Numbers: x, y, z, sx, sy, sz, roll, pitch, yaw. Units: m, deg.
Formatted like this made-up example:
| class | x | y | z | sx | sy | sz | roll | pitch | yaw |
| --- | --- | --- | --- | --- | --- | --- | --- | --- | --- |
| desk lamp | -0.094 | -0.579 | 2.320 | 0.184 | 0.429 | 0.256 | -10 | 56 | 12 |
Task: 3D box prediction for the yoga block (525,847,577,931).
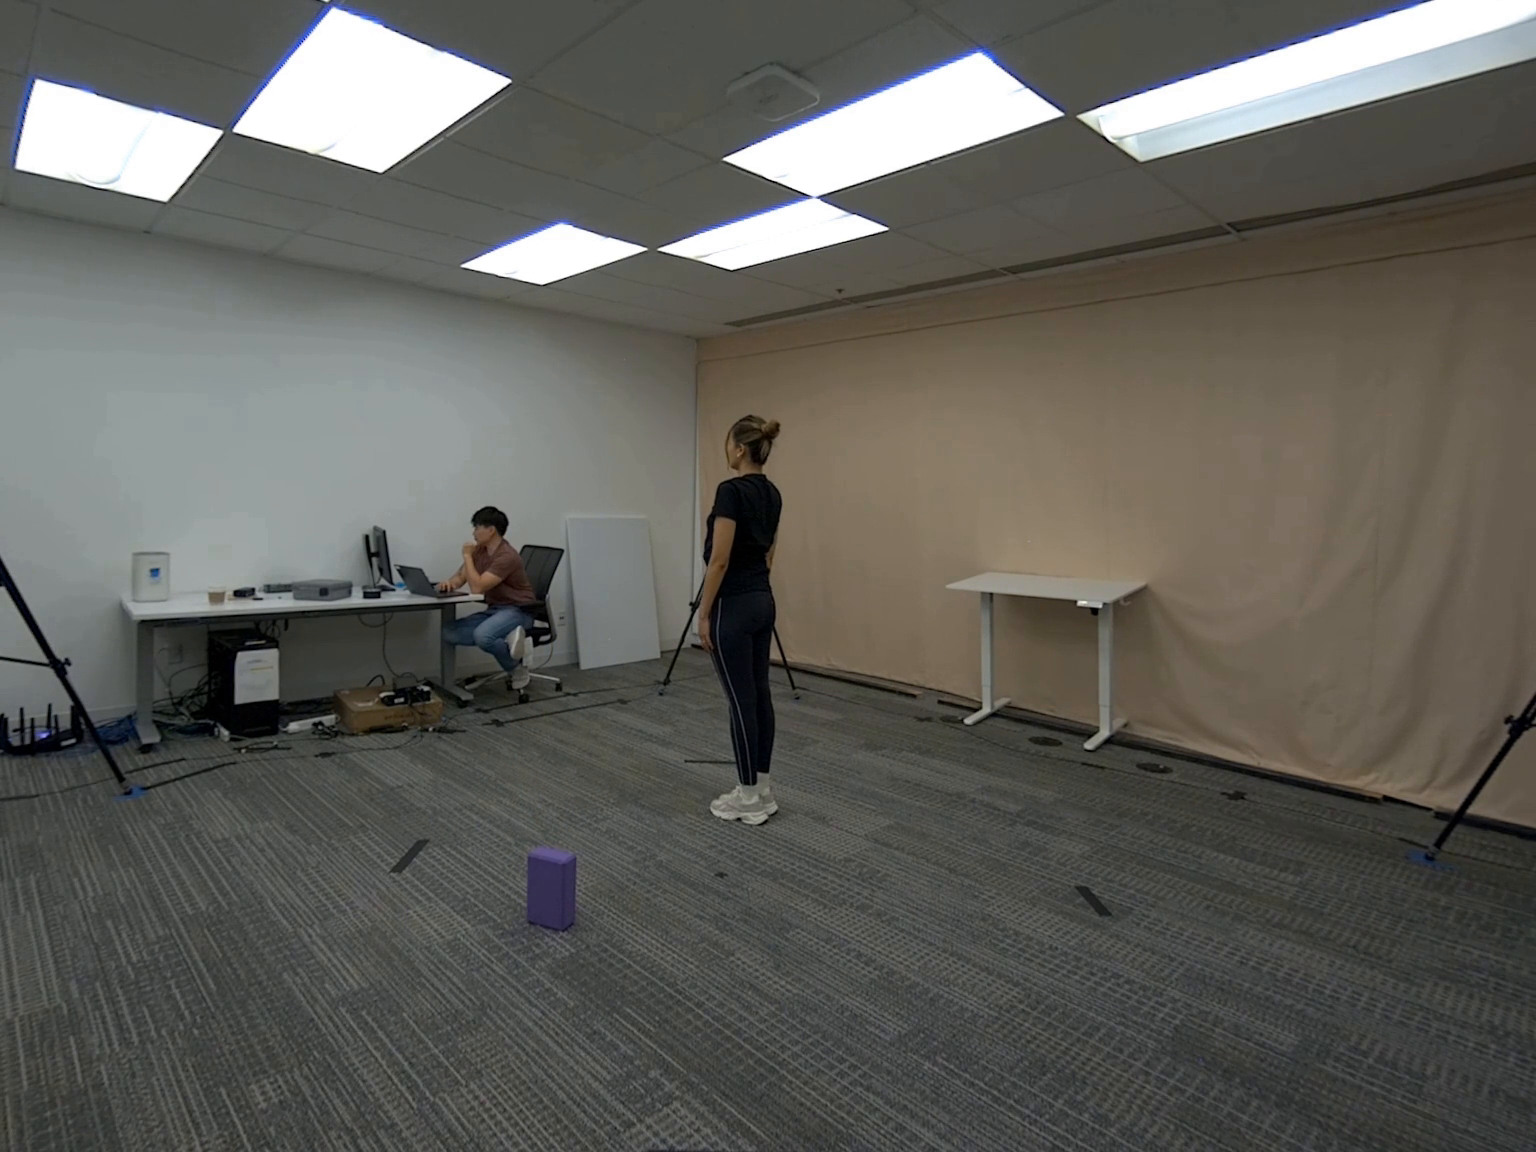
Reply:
| class | x | y | z | sx | sy | sz | roll | pitch | yaw |
| --- | --- | --- | --- | --- | --- | --- | --- | --- | --- |
| yoga block | -0.712 | 1.014 | 2.721 | 0.152 | 0.228 | 0.075 | 3 | 4 | 23 |
